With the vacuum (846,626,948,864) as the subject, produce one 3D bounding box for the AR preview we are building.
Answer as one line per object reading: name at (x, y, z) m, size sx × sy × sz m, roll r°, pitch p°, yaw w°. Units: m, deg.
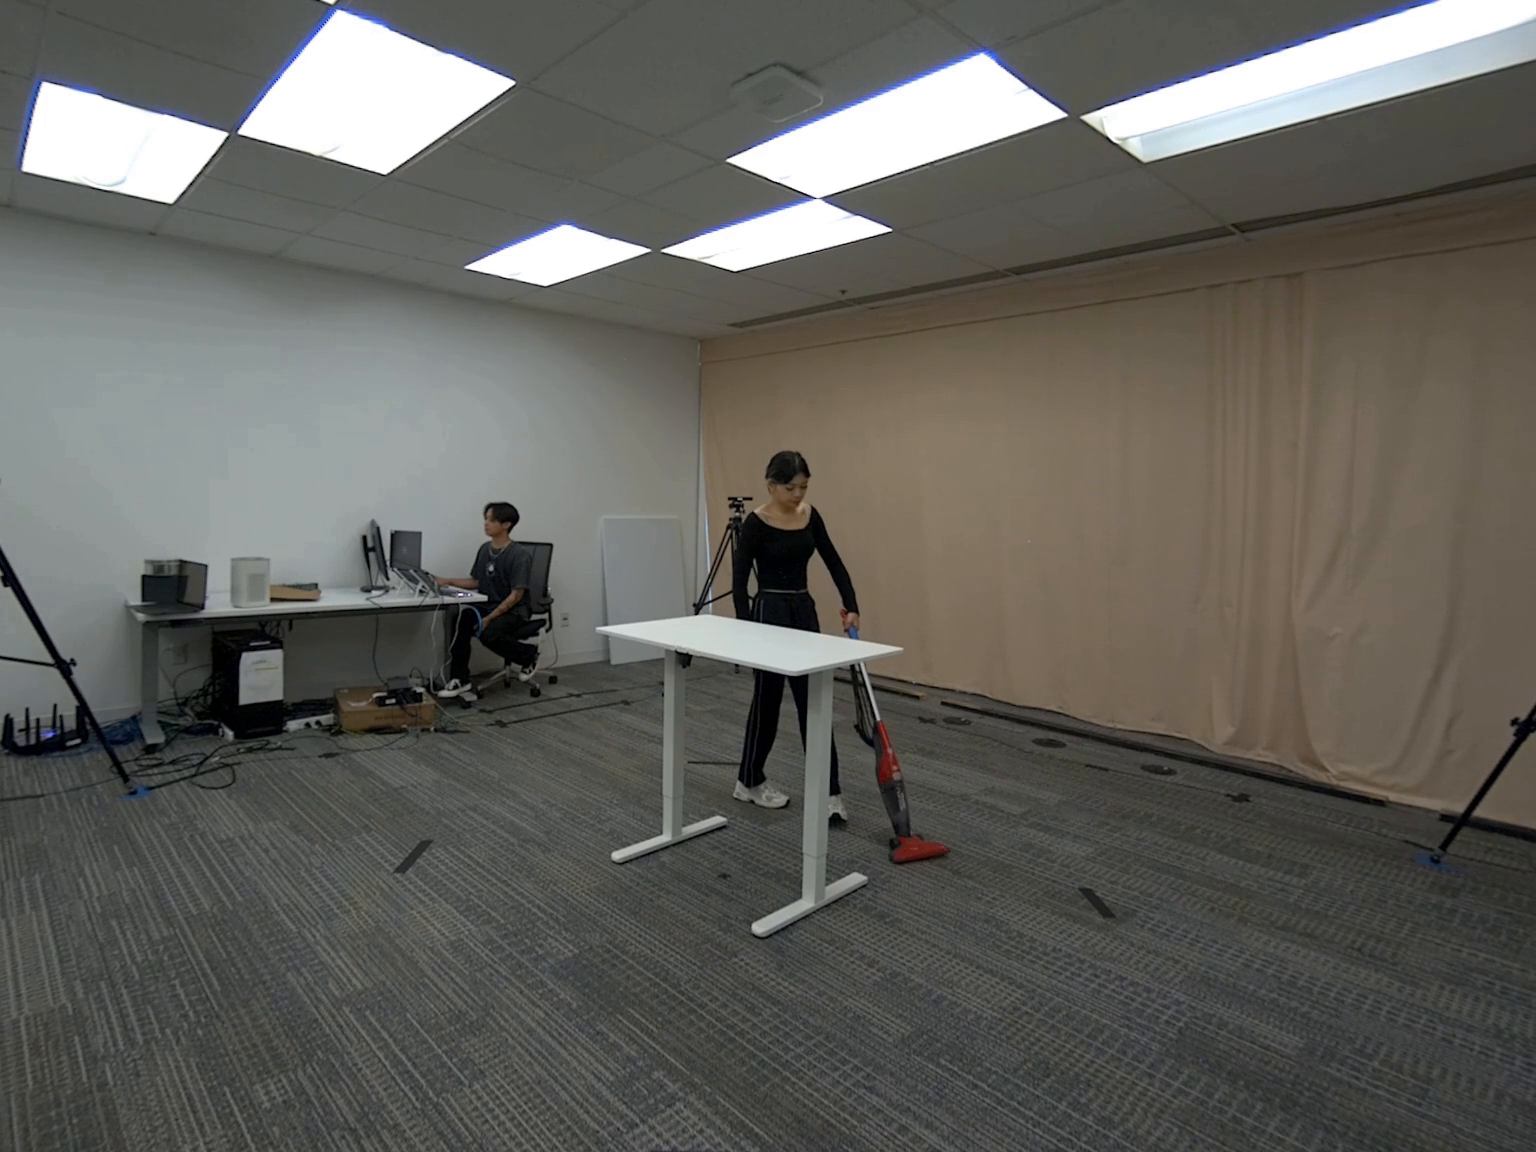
vacuum at (0.453, 0.647, 3.571) m, size 0.247 × 1.073 × 0.144 m, roll 3°, pitch -32°, yaw -30°
